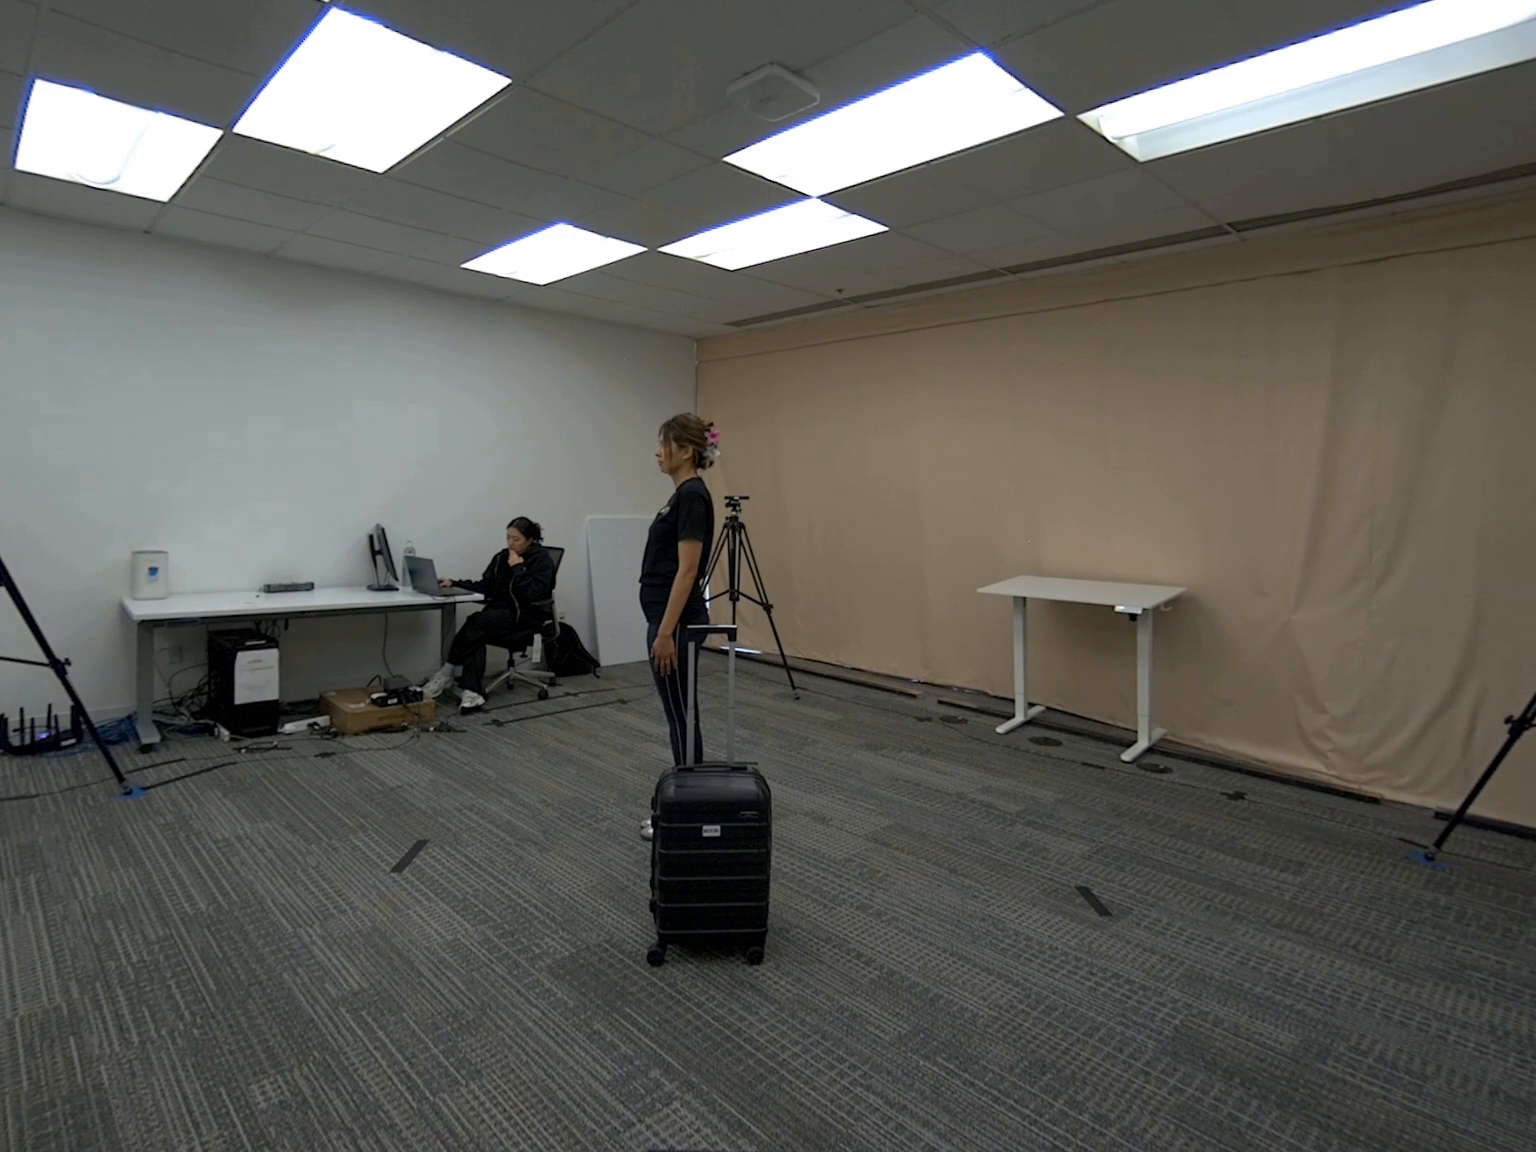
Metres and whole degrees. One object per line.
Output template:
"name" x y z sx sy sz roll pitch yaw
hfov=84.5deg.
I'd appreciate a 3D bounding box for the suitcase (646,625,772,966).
"suitcase" -0.176 0.669 2.594 0.383 0.976 0.258 1 4 -3
